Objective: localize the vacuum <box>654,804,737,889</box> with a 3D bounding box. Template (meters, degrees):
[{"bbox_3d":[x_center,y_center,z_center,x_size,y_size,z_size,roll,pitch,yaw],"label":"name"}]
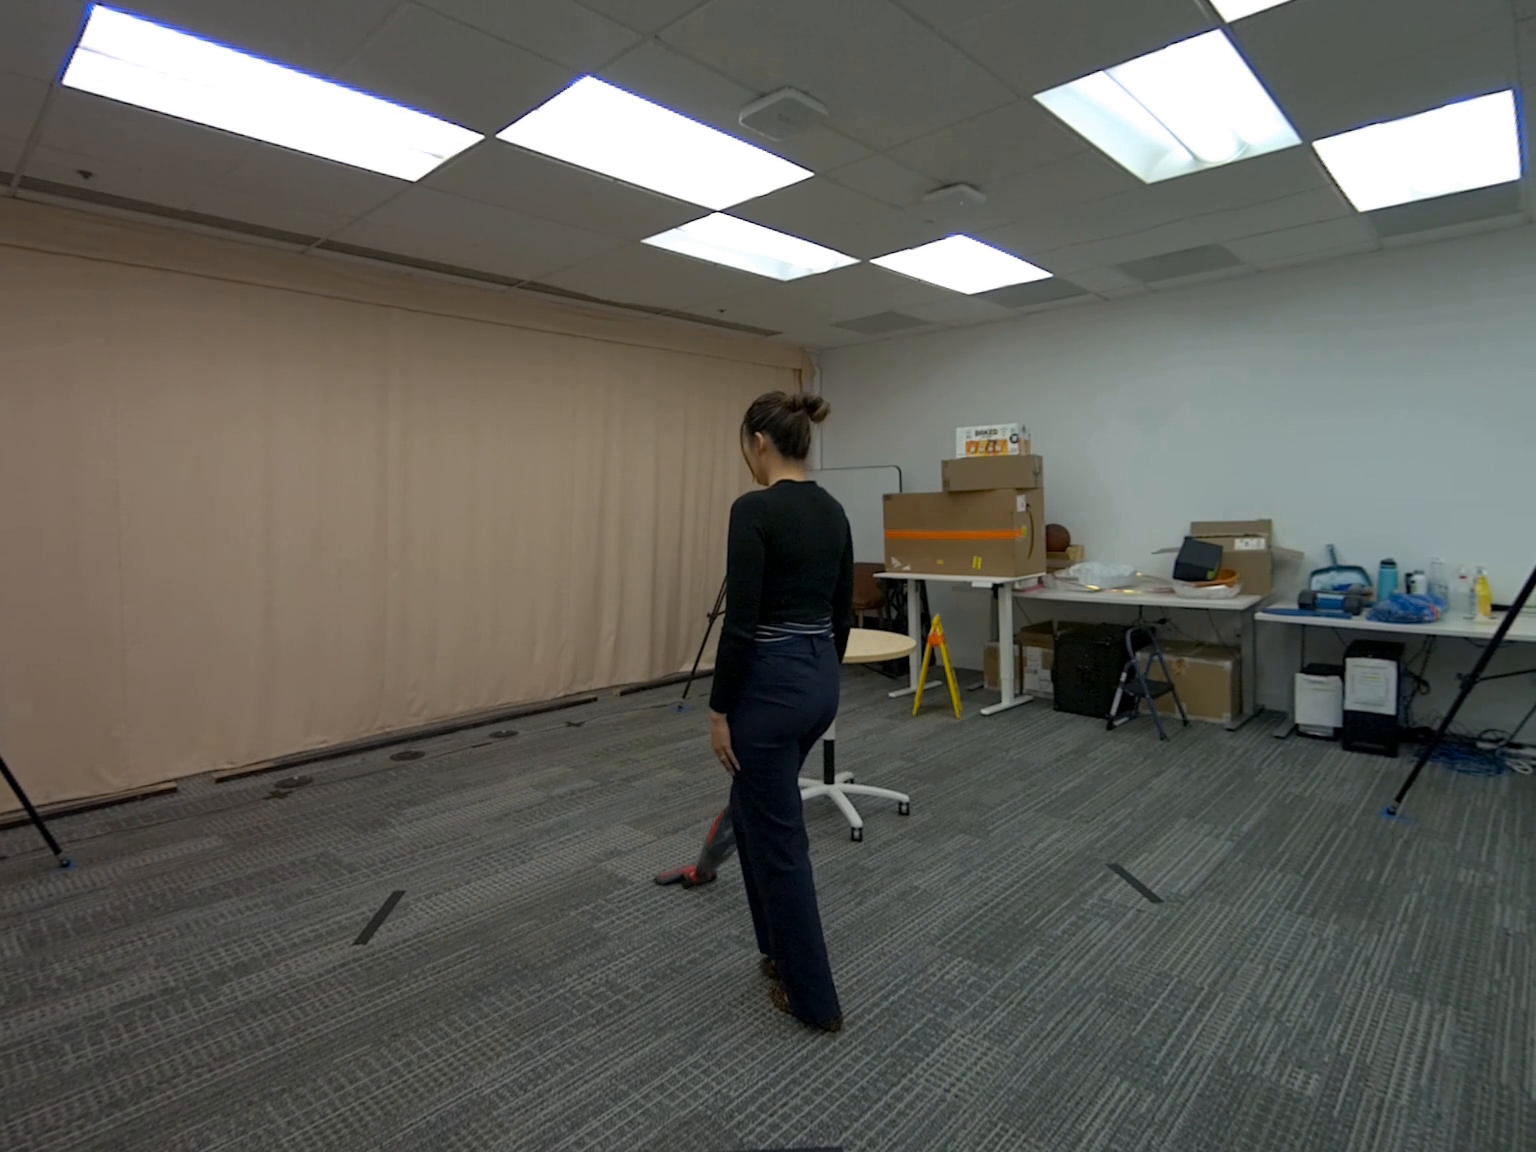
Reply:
[{"bbox_3d":[-0.080,0.786,2.829,0.245,0.148,1.049,-10,-35,-40],"label":"vacuum"}]
